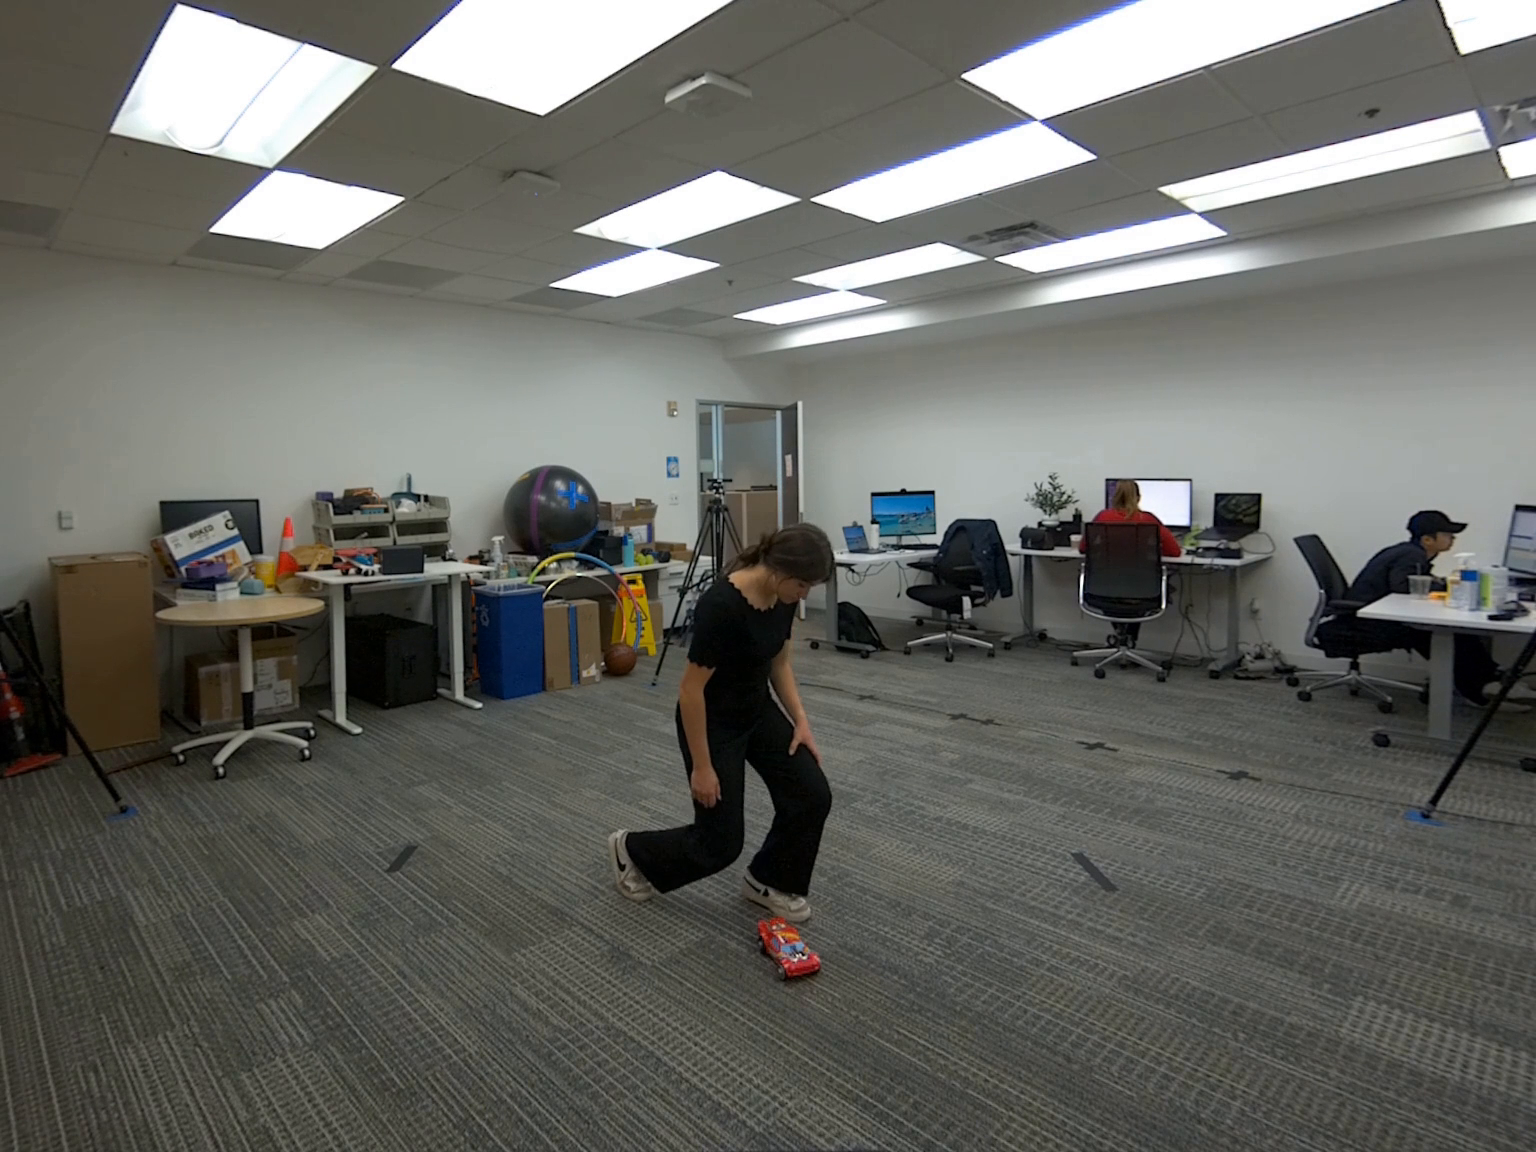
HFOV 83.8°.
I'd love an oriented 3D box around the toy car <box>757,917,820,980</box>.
[{"bbox_3d":[0.050,1.088,2.490,0.128,0.082,0.262,-5,17,-20],"label":"toy car"}]
